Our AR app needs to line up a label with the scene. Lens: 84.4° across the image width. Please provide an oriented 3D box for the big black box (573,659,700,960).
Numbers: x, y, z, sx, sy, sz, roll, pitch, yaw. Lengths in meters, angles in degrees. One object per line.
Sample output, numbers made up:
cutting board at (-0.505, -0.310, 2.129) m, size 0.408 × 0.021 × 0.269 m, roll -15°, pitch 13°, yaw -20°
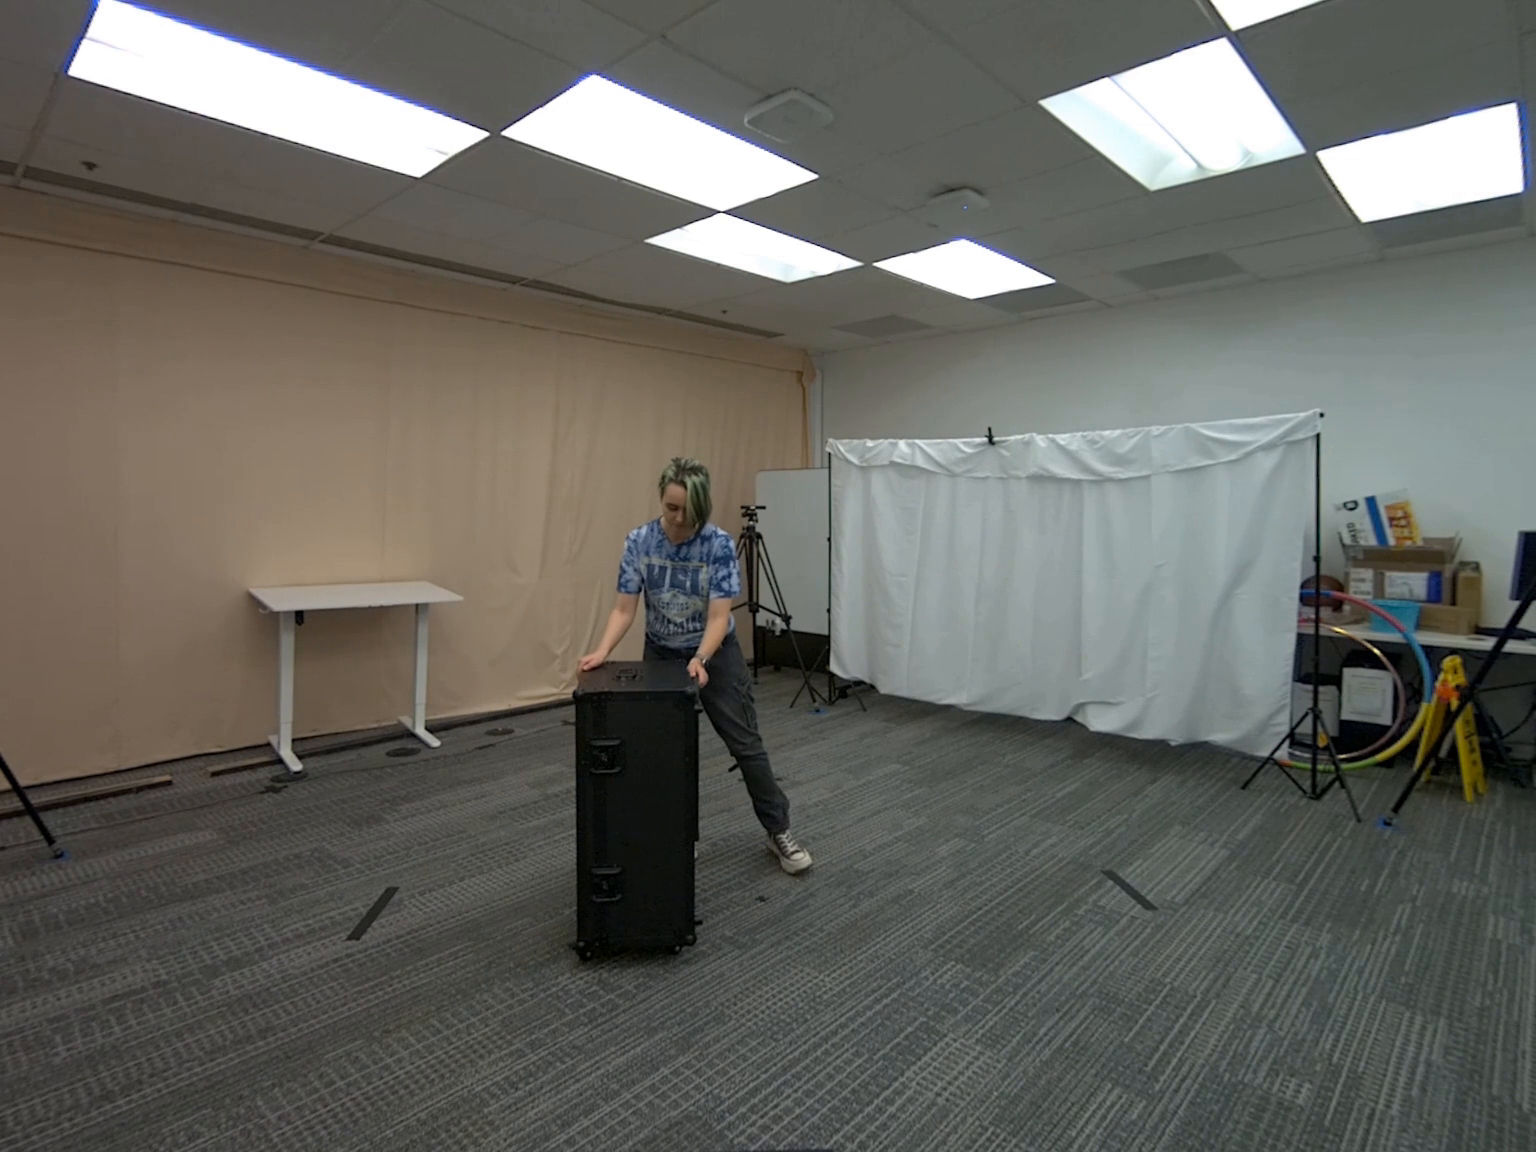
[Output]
big black box at (-0.430, 0.752, 2.737) m, size 0.394 × 0.860 × 0.525 m, roll 1°, pitch 3°, yaw -5°
